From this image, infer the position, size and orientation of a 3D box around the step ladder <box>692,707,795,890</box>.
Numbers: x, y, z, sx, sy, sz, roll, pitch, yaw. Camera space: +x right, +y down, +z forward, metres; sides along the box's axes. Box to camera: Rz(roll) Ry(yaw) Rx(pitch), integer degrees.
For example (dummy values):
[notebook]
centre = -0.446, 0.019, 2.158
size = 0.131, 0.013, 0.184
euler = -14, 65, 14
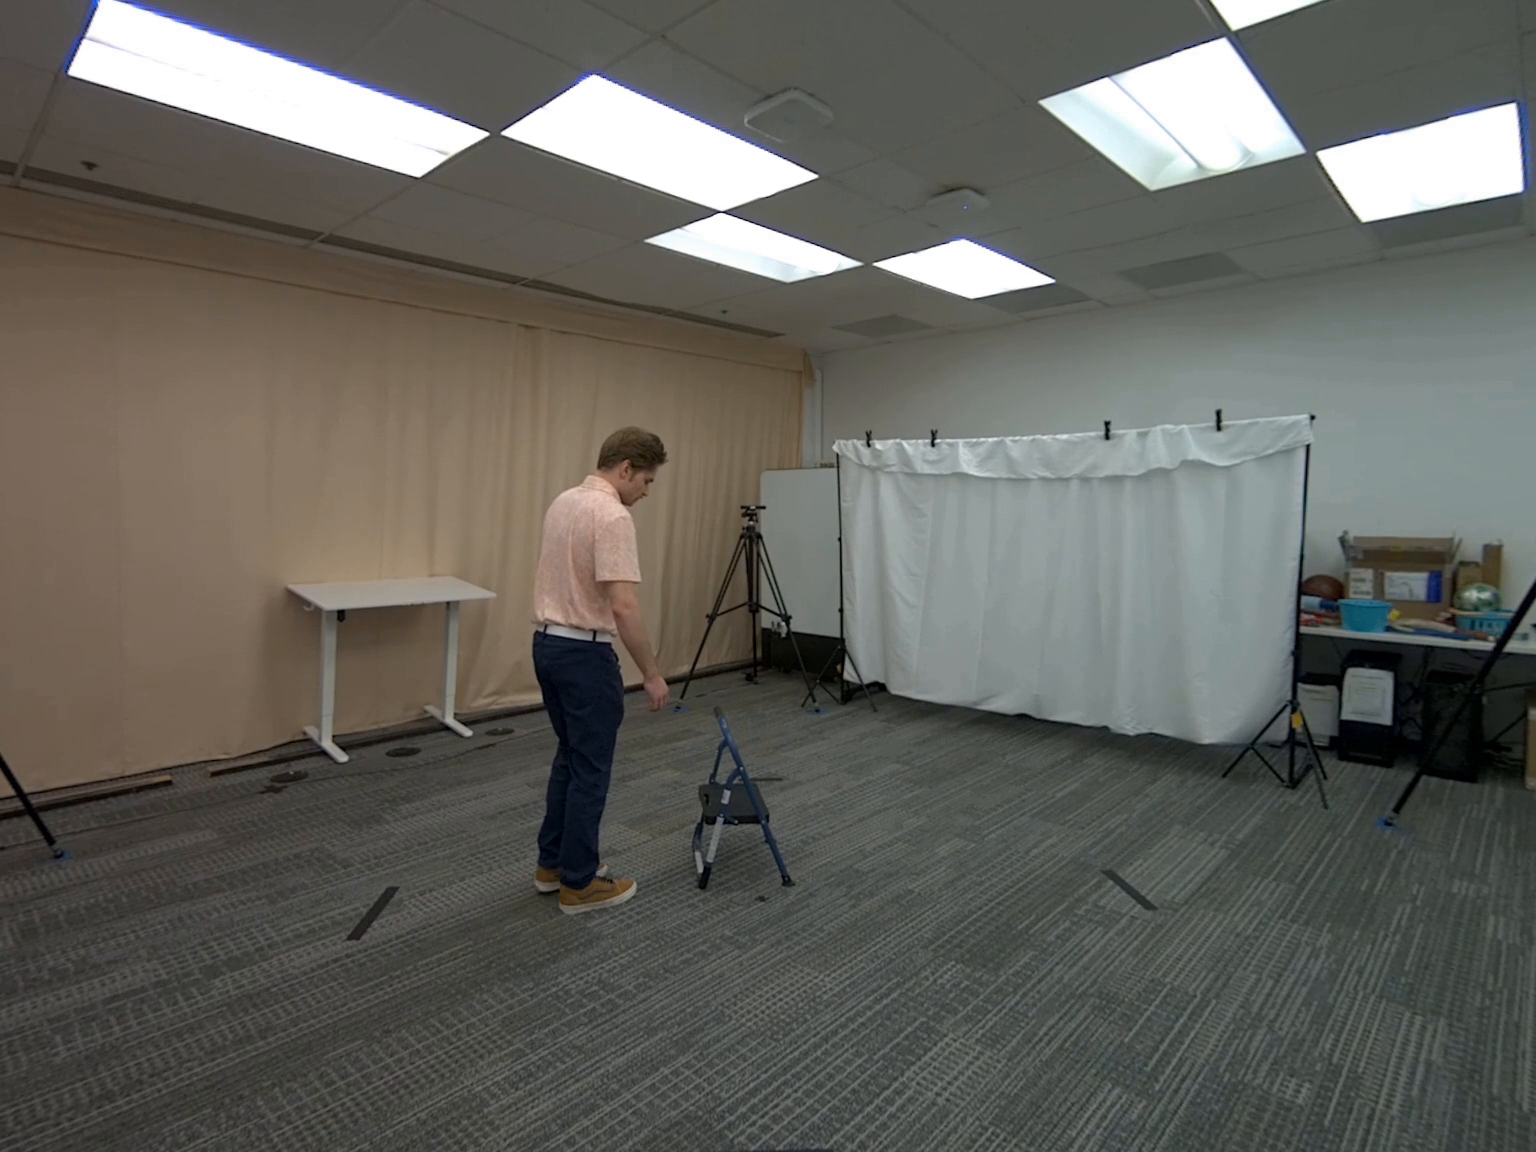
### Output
[step ladder]
centre = -0.115, 0.823, 3.263
size = 0.346, 0.605, 0.435
euler = 0, 3, -9
